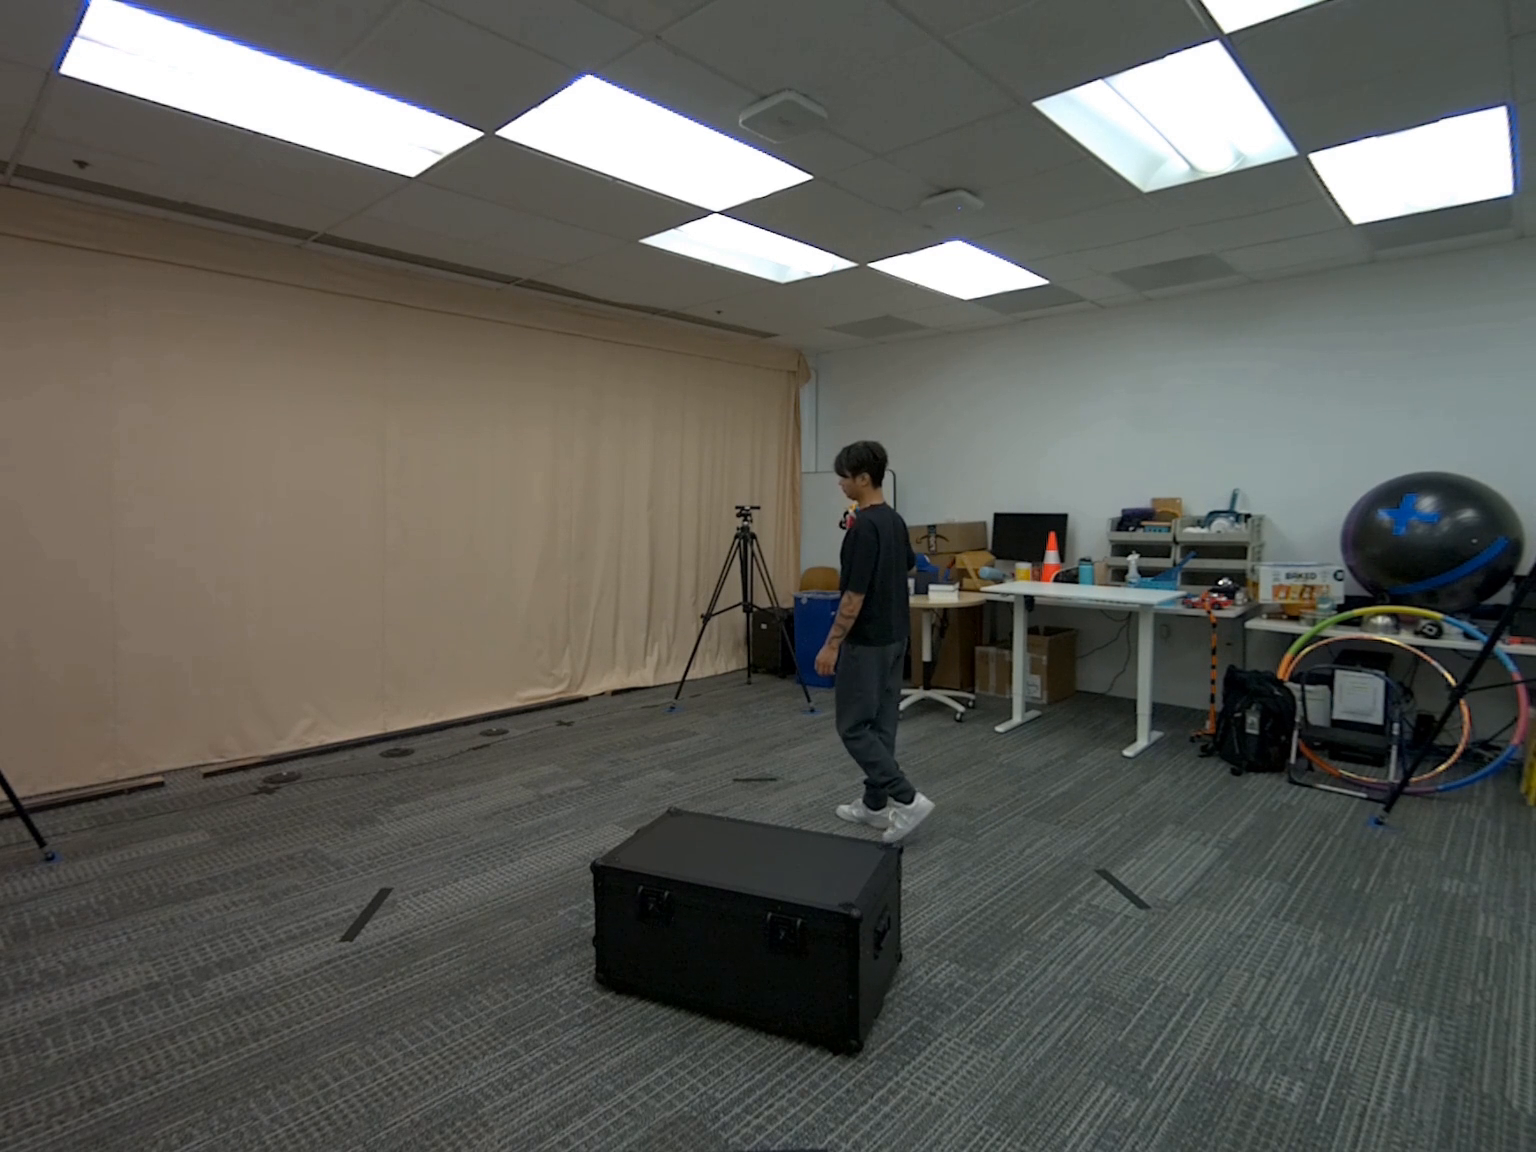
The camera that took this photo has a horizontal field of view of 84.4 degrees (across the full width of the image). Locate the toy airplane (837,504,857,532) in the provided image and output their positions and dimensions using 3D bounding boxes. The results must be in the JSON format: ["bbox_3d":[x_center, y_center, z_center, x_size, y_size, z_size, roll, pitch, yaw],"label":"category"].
[{"bbox_3d":[0.492,-0.256,4.119,0.252,0.256,0.157,17,-44,-27],"label":"toy airplane"}]
